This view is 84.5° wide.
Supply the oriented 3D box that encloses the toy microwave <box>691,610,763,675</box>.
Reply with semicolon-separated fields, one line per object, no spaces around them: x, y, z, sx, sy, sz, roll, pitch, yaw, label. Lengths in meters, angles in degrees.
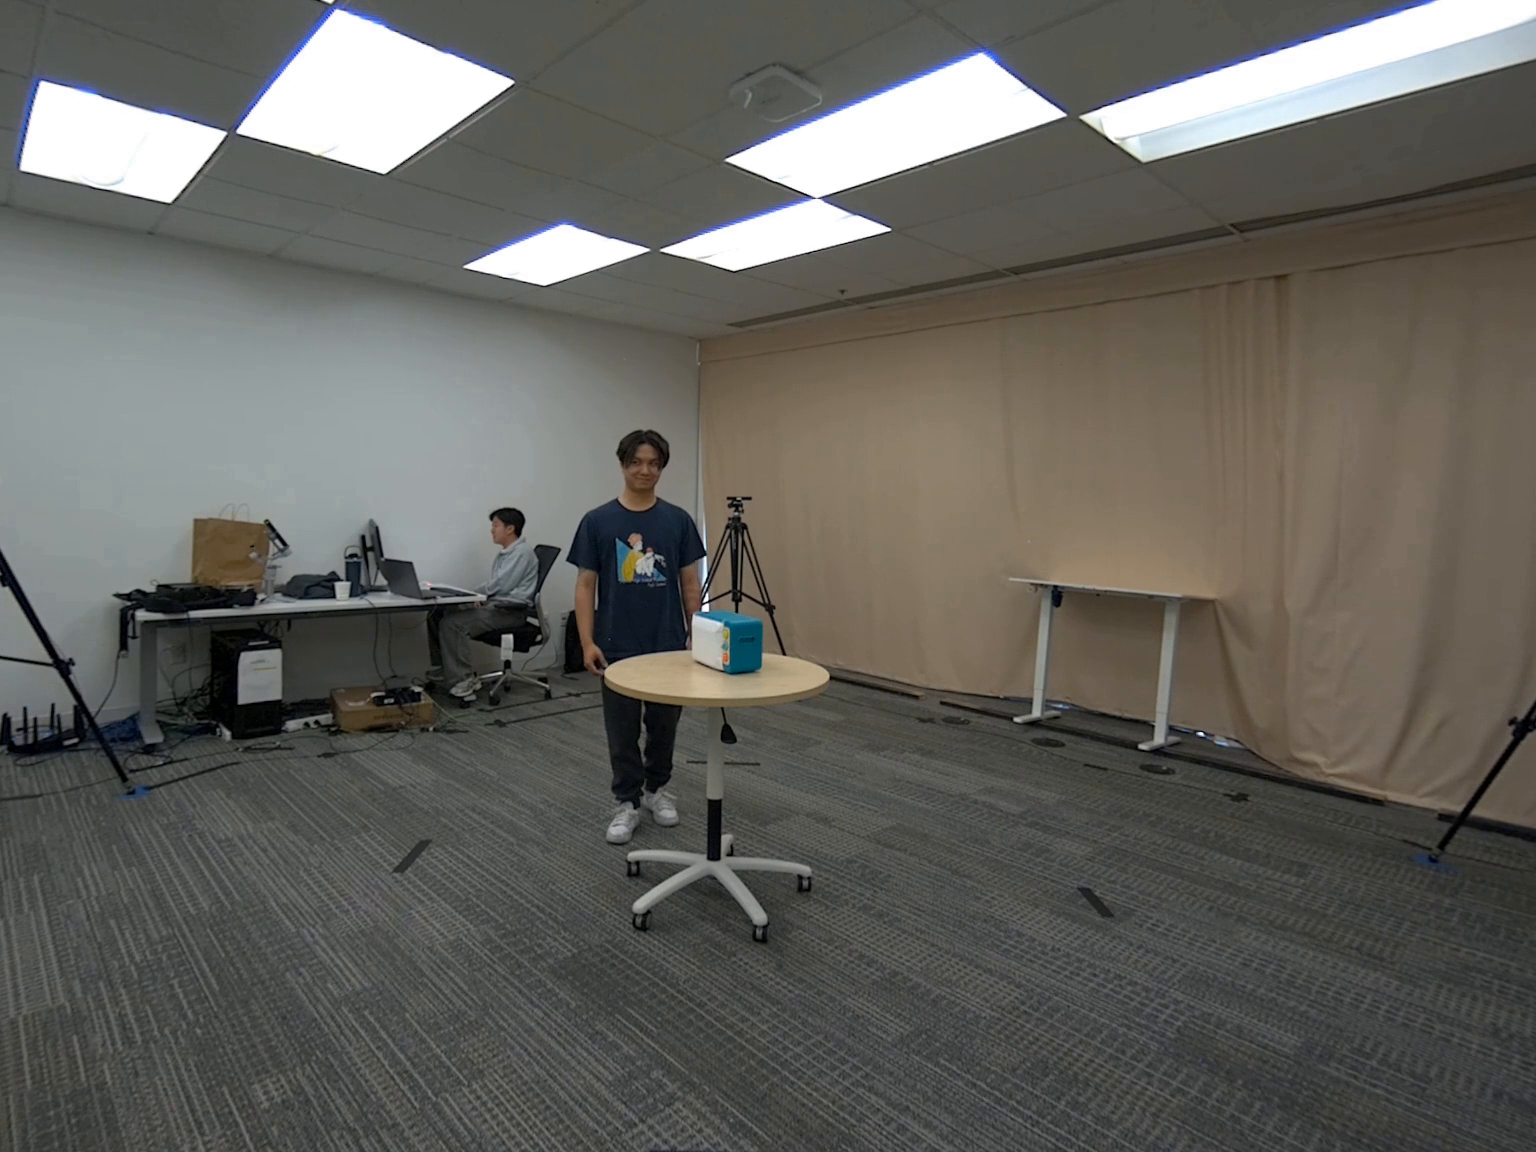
-0.156;0.229;2.947;0.149;0.183;0.293;-1;6;-31;toy microwave
